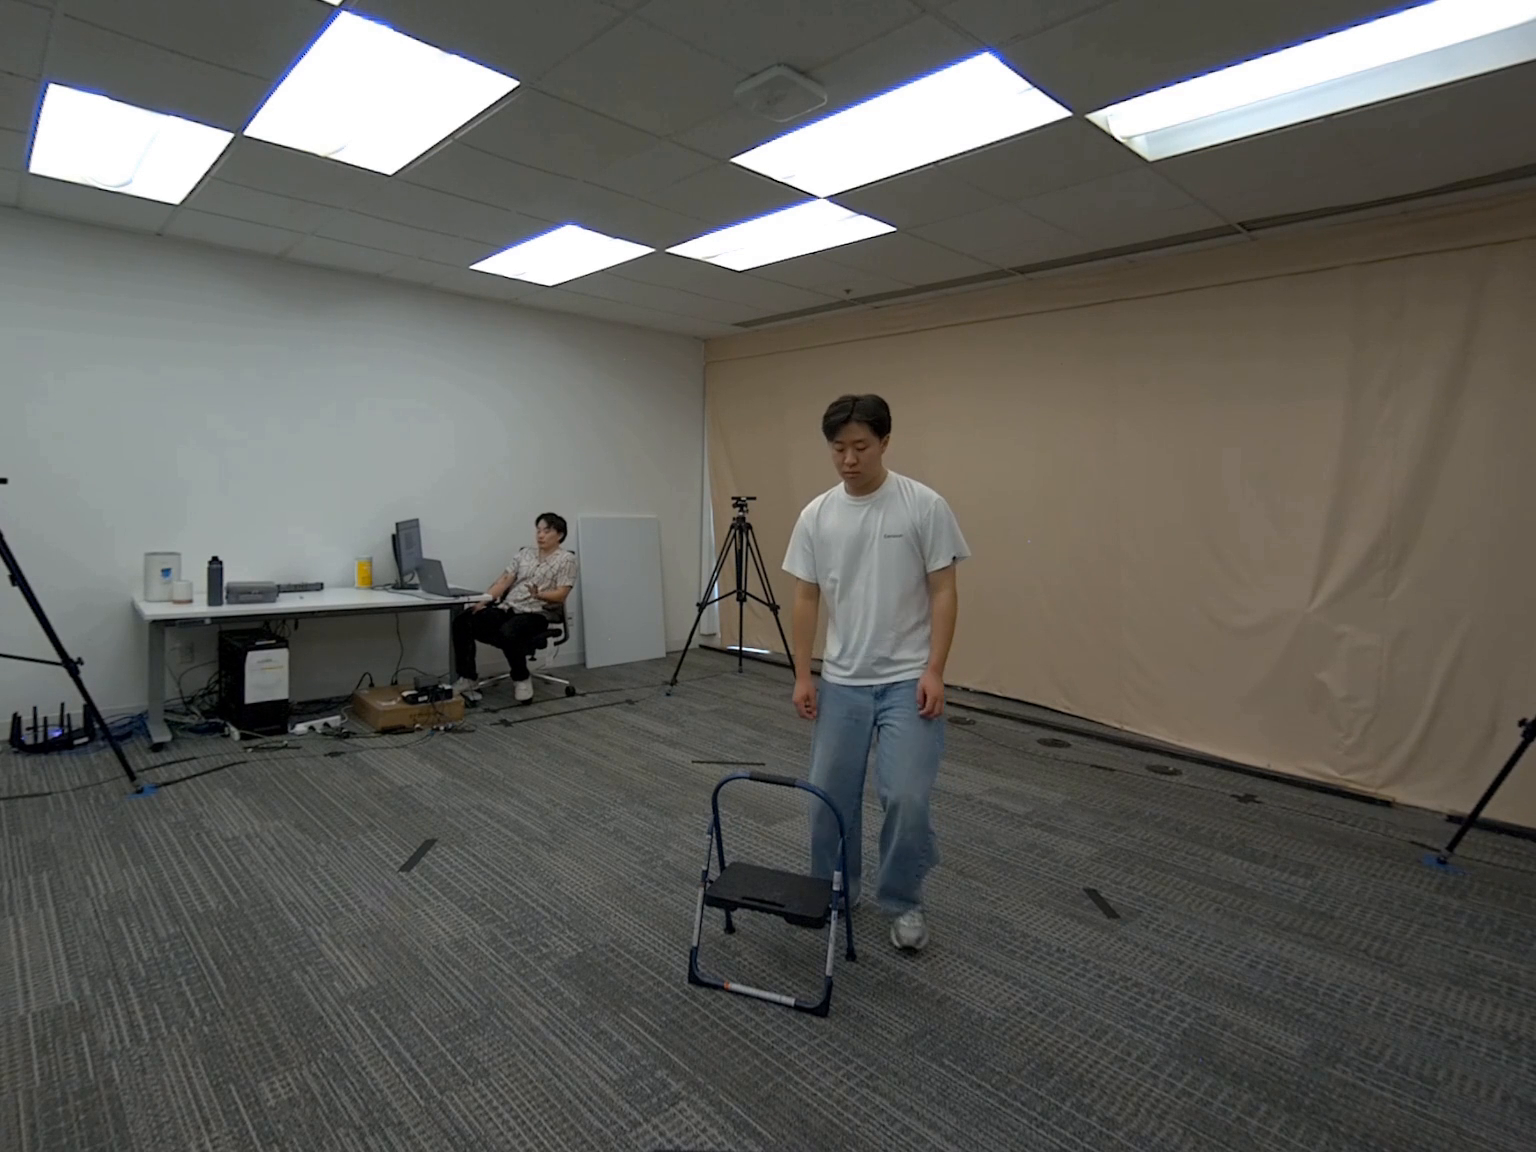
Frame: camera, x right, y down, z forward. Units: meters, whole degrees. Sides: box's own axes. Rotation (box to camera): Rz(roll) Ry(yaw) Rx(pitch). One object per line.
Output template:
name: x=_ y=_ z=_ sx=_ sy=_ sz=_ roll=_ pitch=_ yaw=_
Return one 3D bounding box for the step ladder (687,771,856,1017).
step ladder: x=0.021 y=0.867 z=2.474 sx=0.437 sy=0.604 sz=0.344 roll=3 pitch=4 yaw=19
